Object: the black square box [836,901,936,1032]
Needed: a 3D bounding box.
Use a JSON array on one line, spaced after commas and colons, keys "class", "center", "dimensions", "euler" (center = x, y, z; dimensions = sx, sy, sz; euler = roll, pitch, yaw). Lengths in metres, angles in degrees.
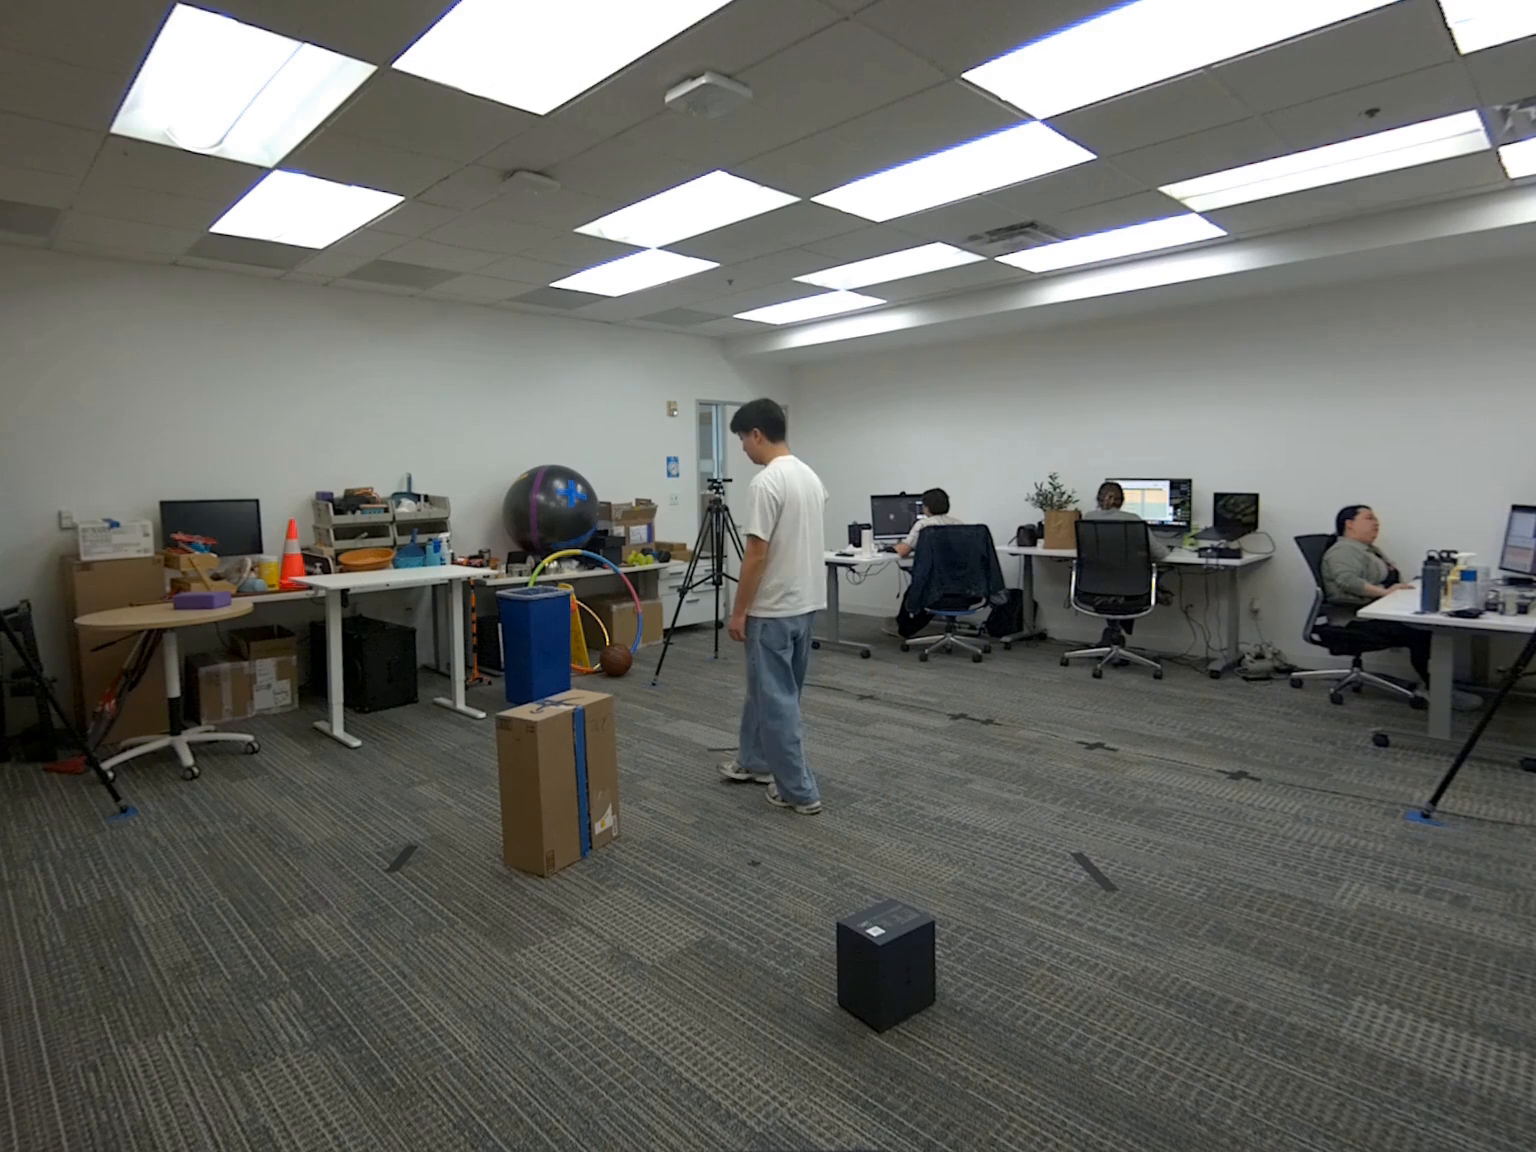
[{"class": "black square box", "center": [0.317, 1.022, 2.258], "dimensions": [0.211, 0.227, 0.160], "euler": [-5, 5, -38]}]
